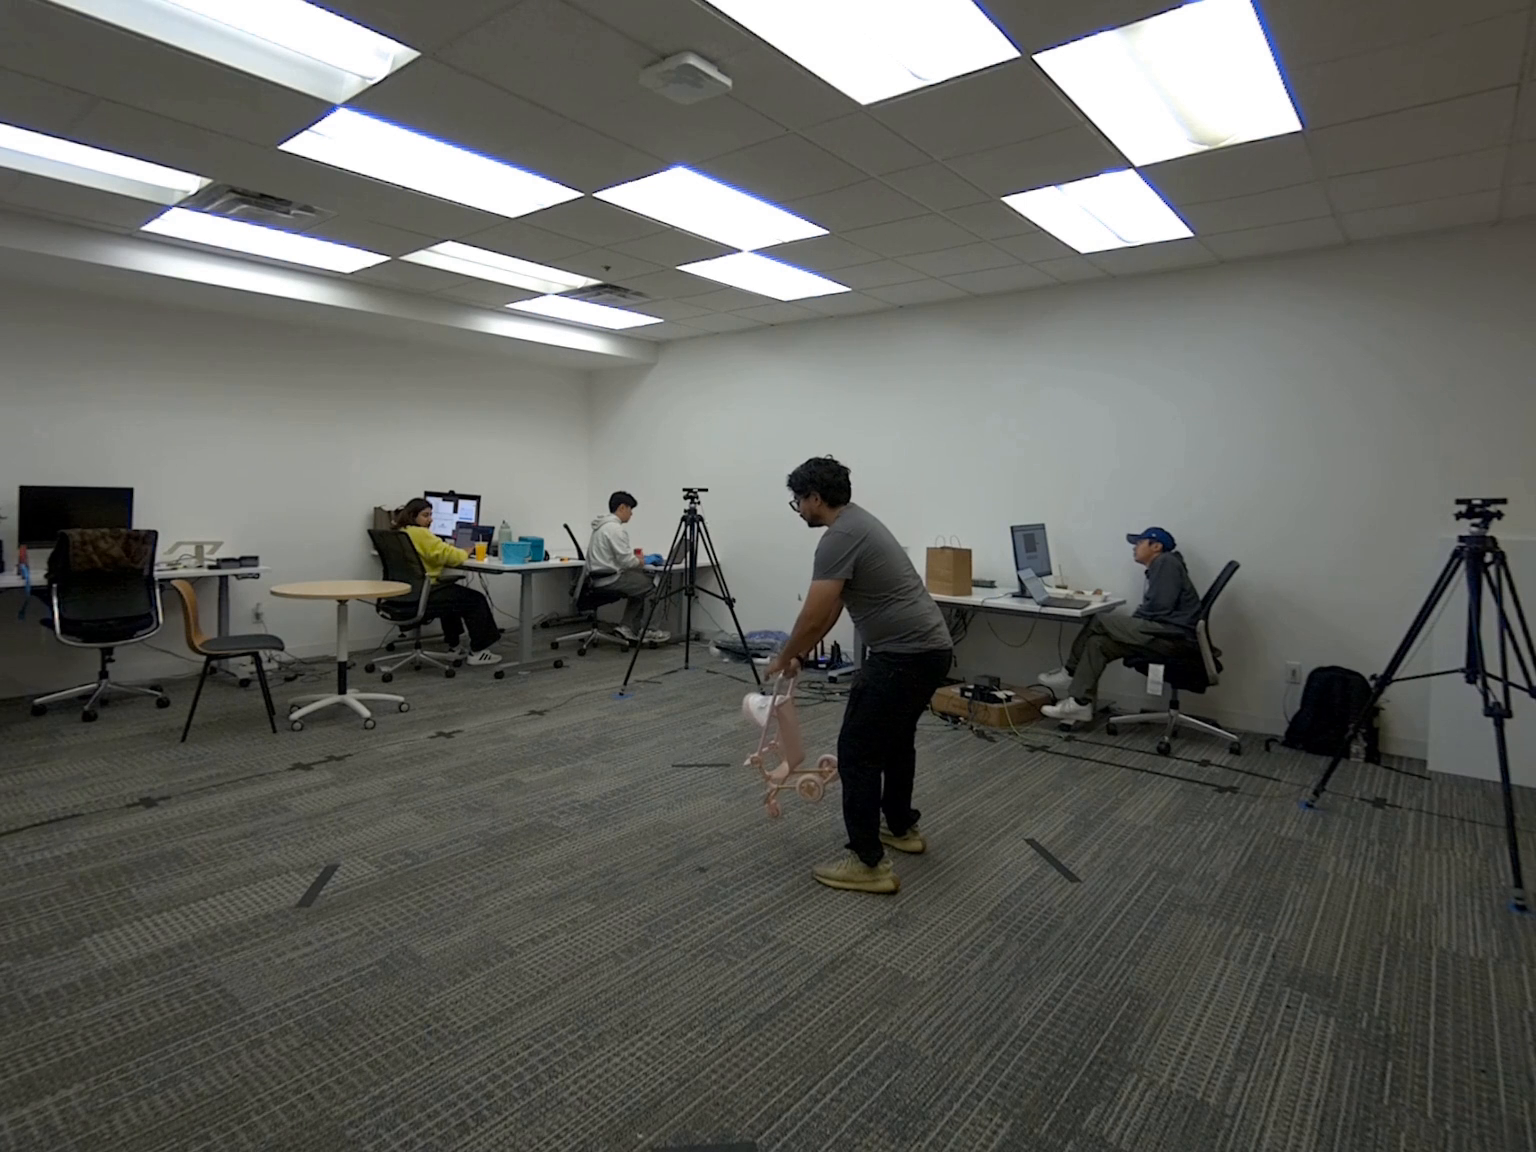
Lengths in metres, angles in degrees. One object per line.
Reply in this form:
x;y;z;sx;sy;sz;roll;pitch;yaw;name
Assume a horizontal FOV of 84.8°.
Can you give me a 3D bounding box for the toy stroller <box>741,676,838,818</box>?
0.046;0.674;3.360;0.346;0.539;0.275;-24;-6;27;toy stroller
